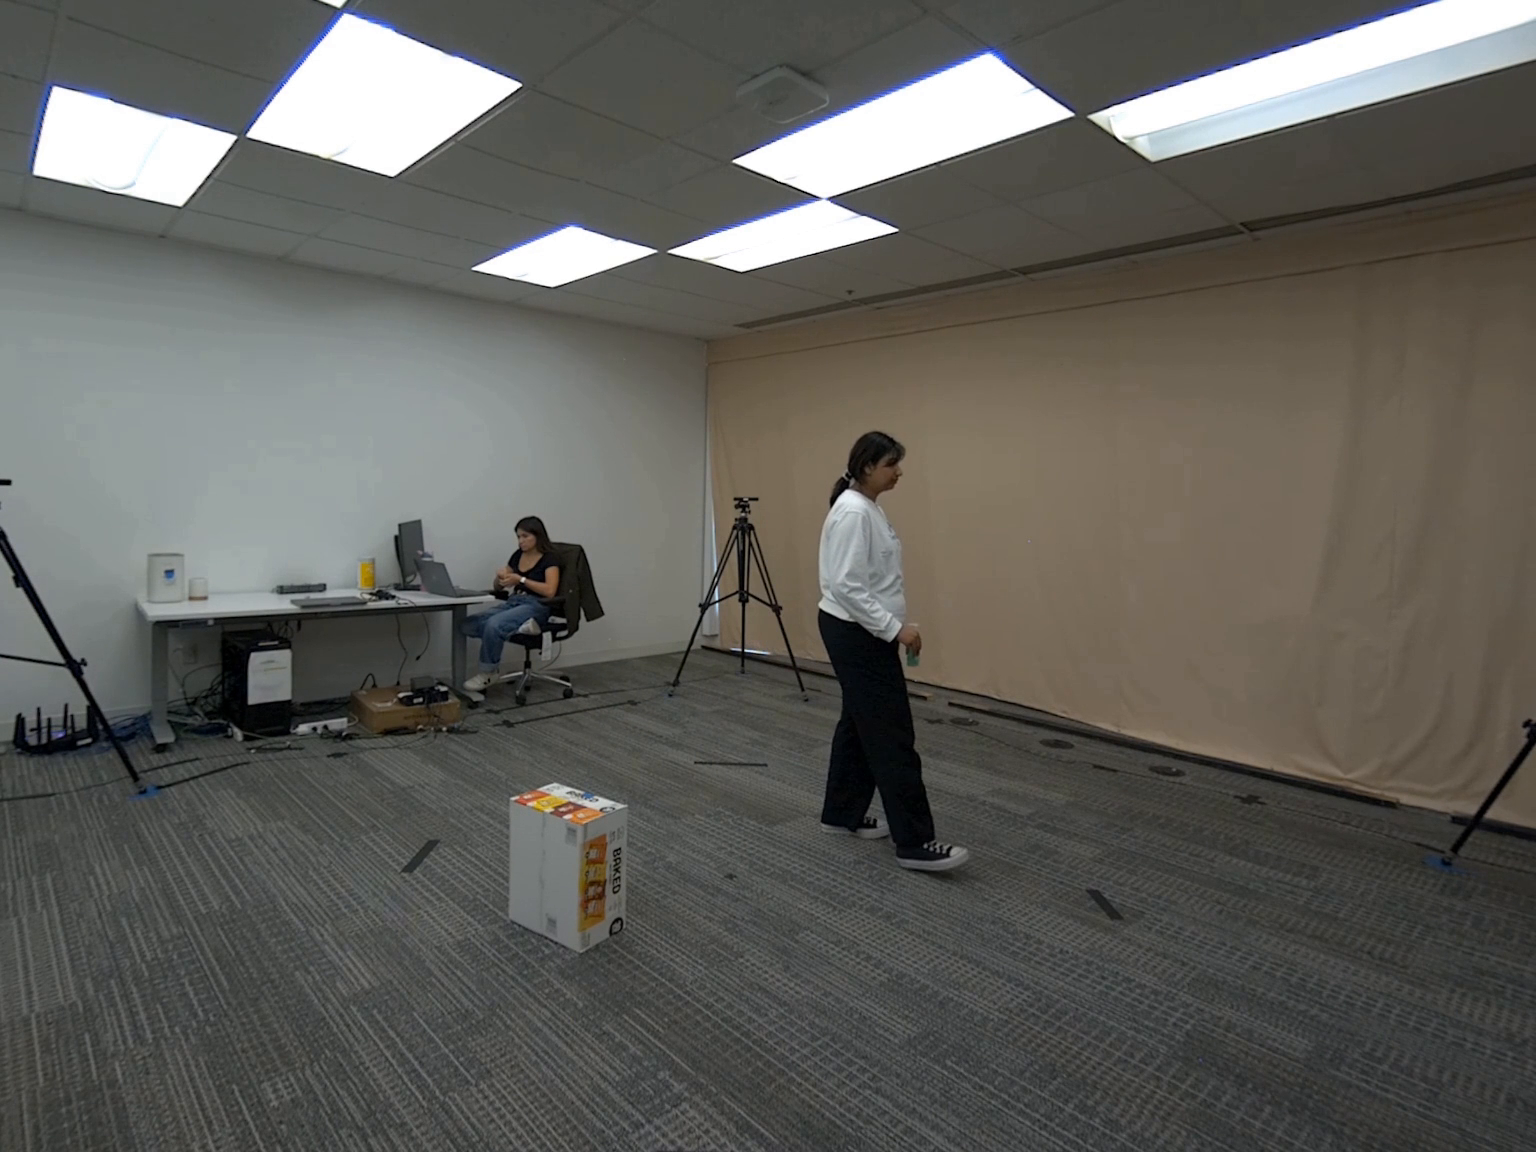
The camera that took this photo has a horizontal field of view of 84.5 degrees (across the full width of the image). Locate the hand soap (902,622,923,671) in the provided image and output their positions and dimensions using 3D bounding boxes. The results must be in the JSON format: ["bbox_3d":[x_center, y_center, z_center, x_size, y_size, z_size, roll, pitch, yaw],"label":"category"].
[{"bbox_3d":[0.559,0.271,3.287,0.044,0.167,0.083,1,9,32],"label":"hand soap"}]
